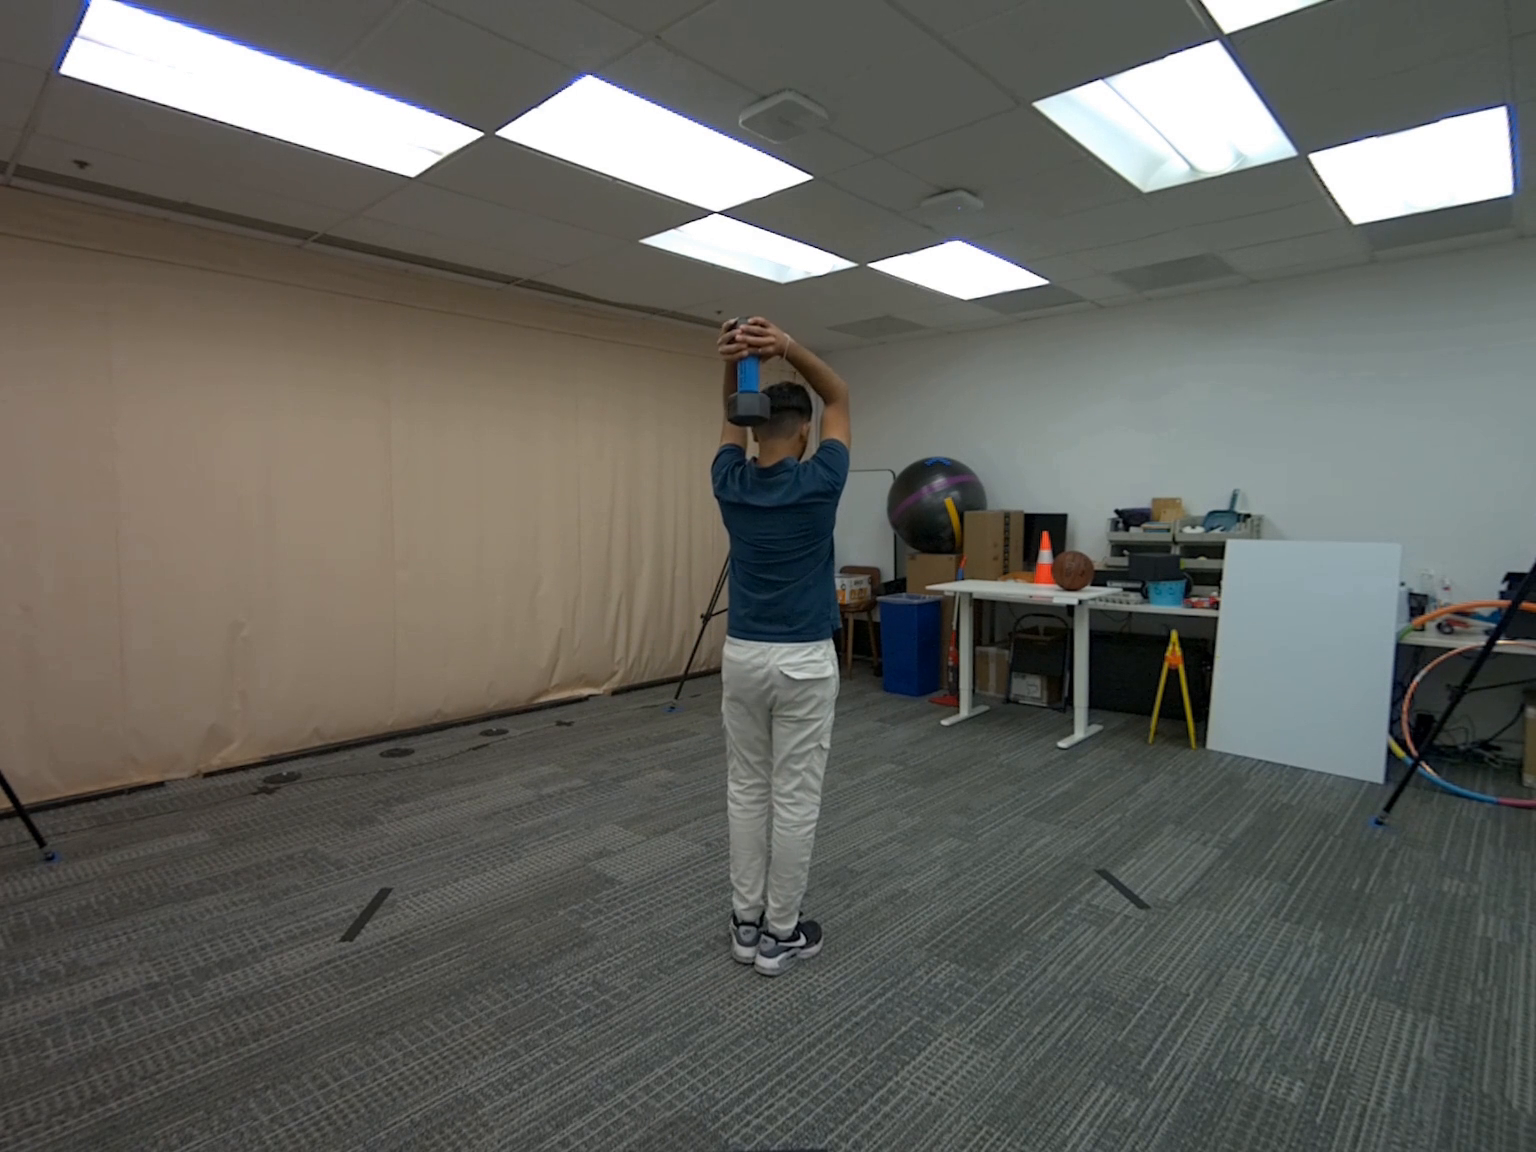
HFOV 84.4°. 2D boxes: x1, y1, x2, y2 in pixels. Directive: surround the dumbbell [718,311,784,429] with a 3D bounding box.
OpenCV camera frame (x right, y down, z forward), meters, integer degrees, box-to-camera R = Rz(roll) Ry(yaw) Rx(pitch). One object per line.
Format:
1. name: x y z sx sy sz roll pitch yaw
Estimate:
1. dumbbell: -0.049 -0.572 2.367 0.112 0.294 0.119 3 -3 32
